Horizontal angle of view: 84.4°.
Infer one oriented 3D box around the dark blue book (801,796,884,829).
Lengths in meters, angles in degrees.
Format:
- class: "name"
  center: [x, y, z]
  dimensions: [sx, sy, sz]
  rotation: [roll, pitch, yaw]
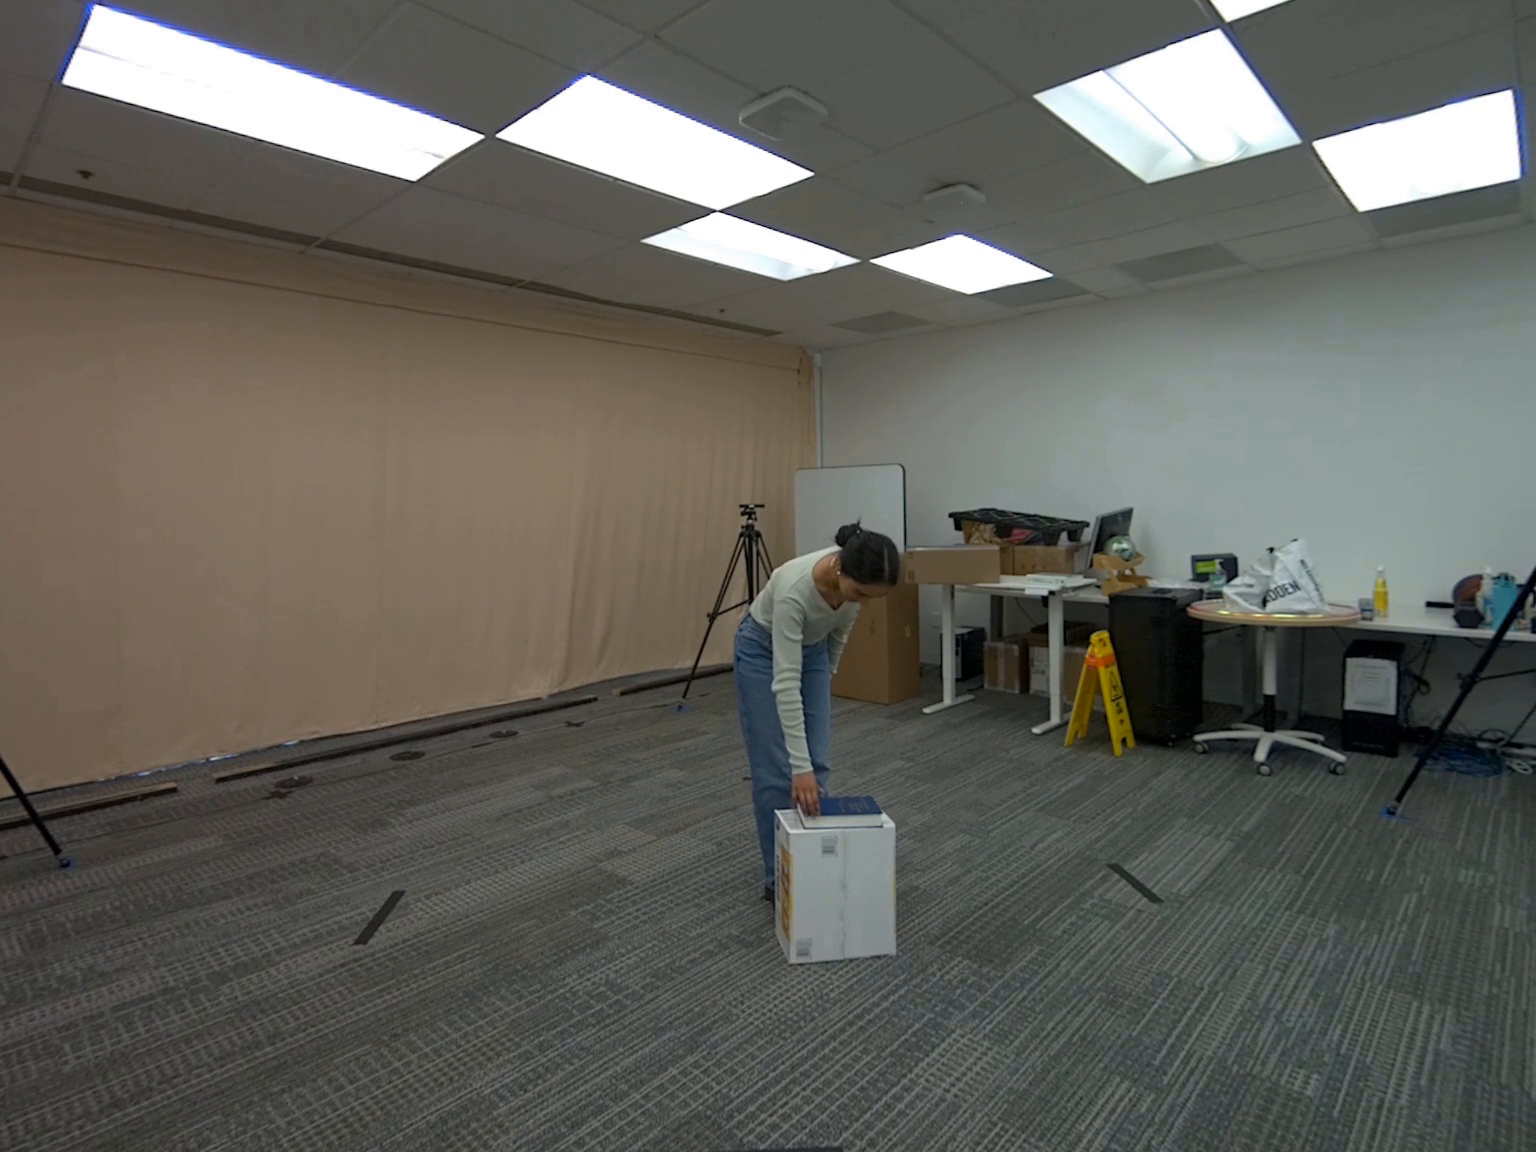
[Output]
- class: "dark blue book"
  center: [0.230, 0.740, 2.641]
  dimensions: [0.244, 0.045, 0.164]
  rotation: [-2, 4, -3]
